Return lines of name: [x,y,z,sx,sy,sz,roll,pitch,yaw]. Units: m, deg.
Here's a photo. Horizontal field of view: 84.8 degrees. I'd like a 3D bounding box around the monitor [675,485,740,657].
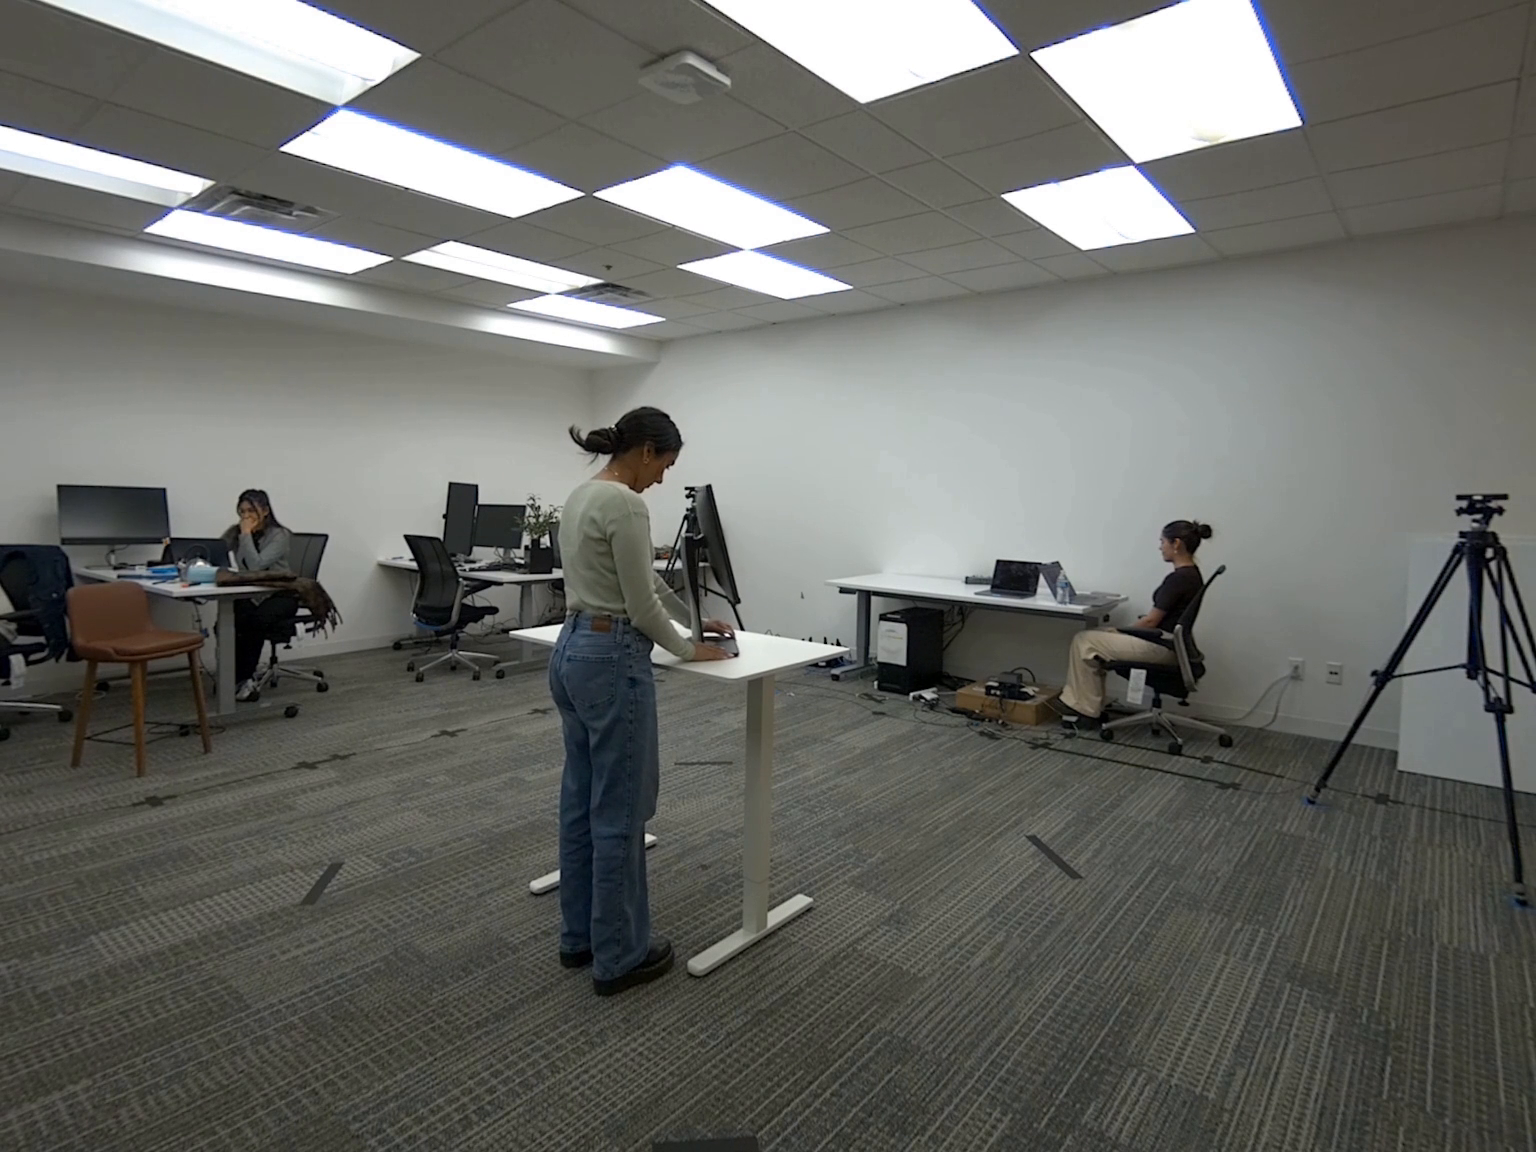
monitor: [-0.191,-0.030,2.673,0.174,0.514,0.533,5,4,-3]
